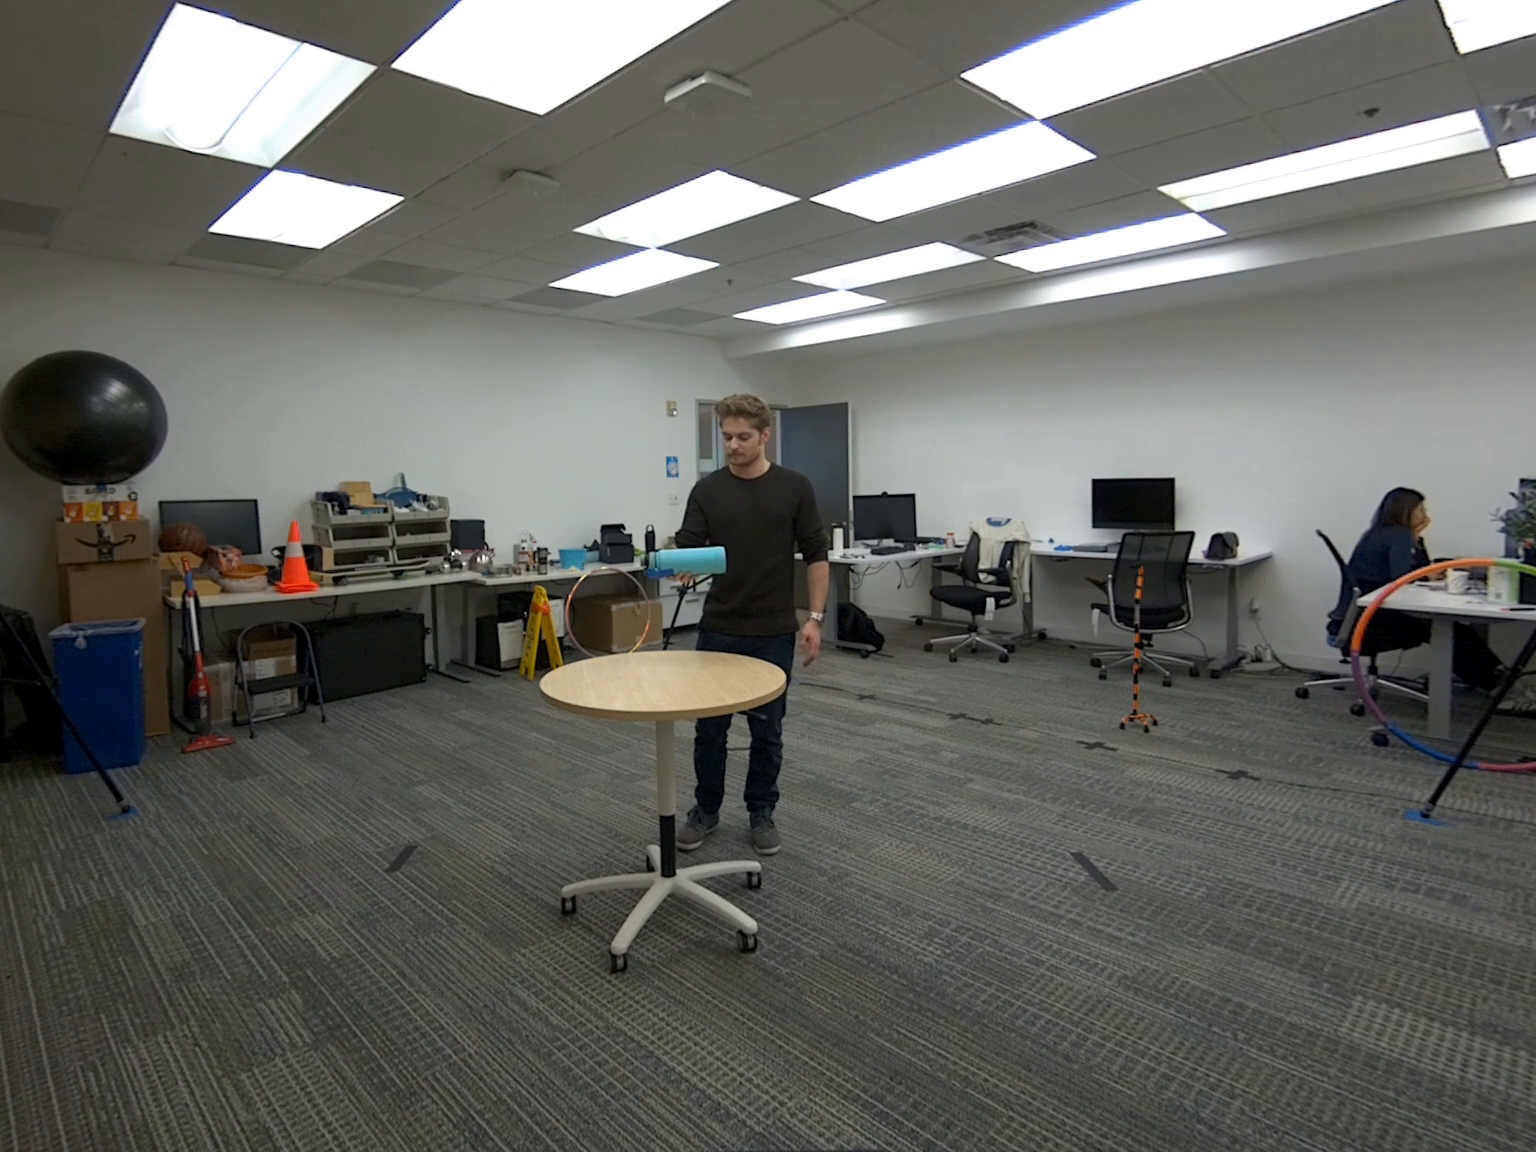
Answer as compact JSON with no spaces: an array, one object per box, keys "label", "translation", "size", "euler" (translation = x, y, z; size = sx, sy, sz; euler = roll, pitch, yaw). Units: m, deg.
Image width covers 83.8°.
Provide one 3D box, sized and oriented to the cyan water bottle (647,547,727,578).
[{"label":"cyan water bottle","translation":[-0.287,-0.044,2.870],"size":[0.281,0.092,0.093],"euler":[-3,5,-8]}]
